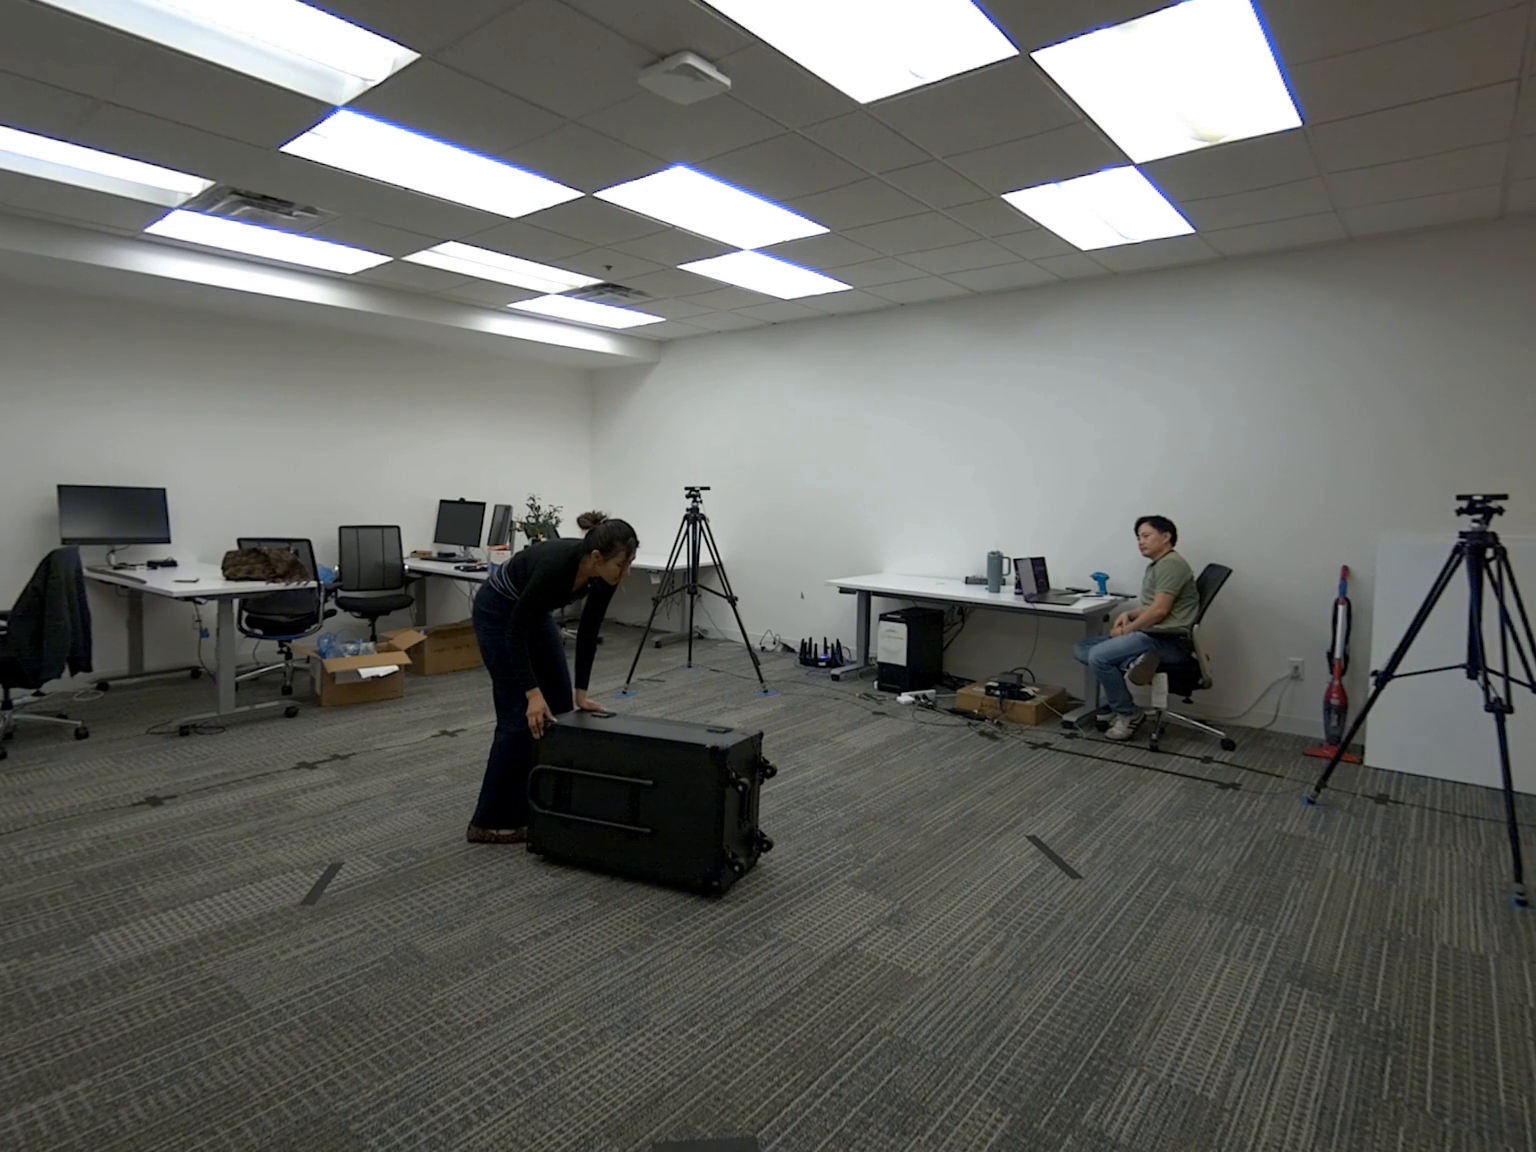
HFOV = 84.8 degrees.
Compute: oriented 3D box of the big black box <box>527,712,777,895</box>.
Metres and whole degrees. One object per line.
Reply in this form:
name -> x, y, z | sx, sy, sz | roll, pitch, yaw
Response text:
big black box -> -0.436, 0.793, 3.123 | 0.881, 0.522, 0.387 | 2, -1, 22
